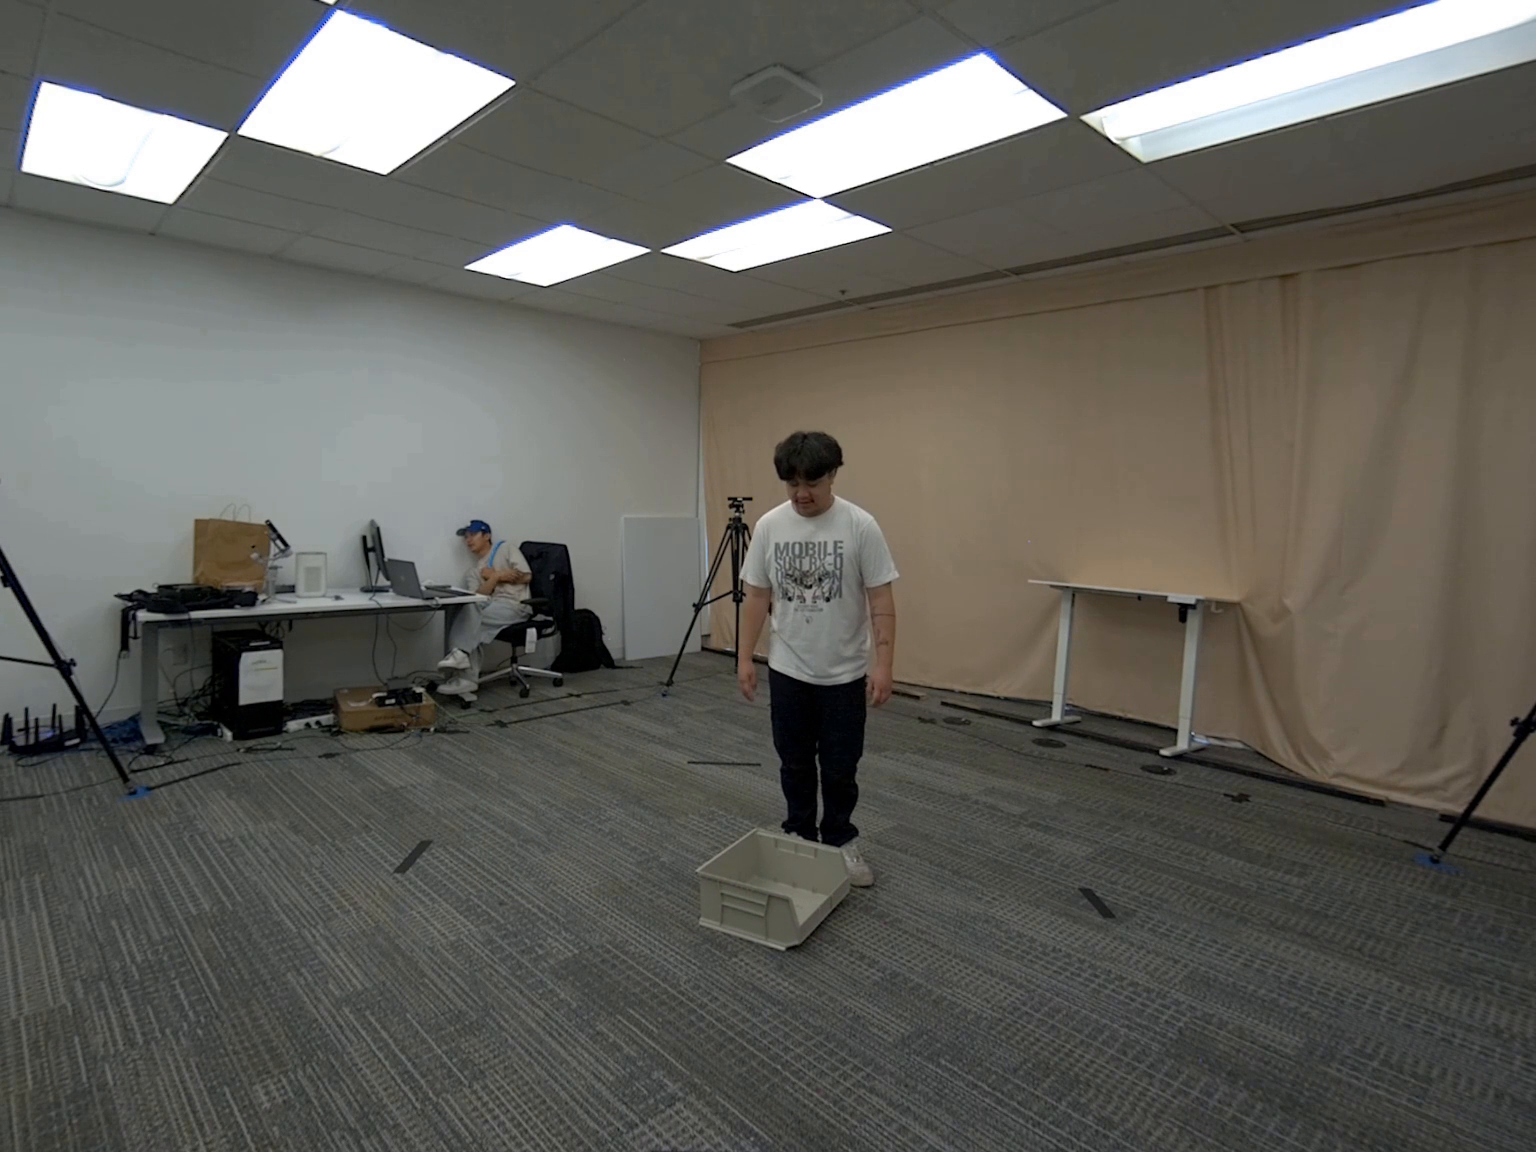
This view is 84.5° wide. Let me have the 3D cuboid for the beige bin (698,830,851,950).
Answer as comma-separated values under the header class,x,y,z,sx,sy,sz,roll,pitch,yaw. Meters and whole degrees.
class,x,y,z,sx,sy,sz,roll,pitch,yaw
beige bin,0.020,1.047,2.833,0.385,0.188,0.415,3,6,28
